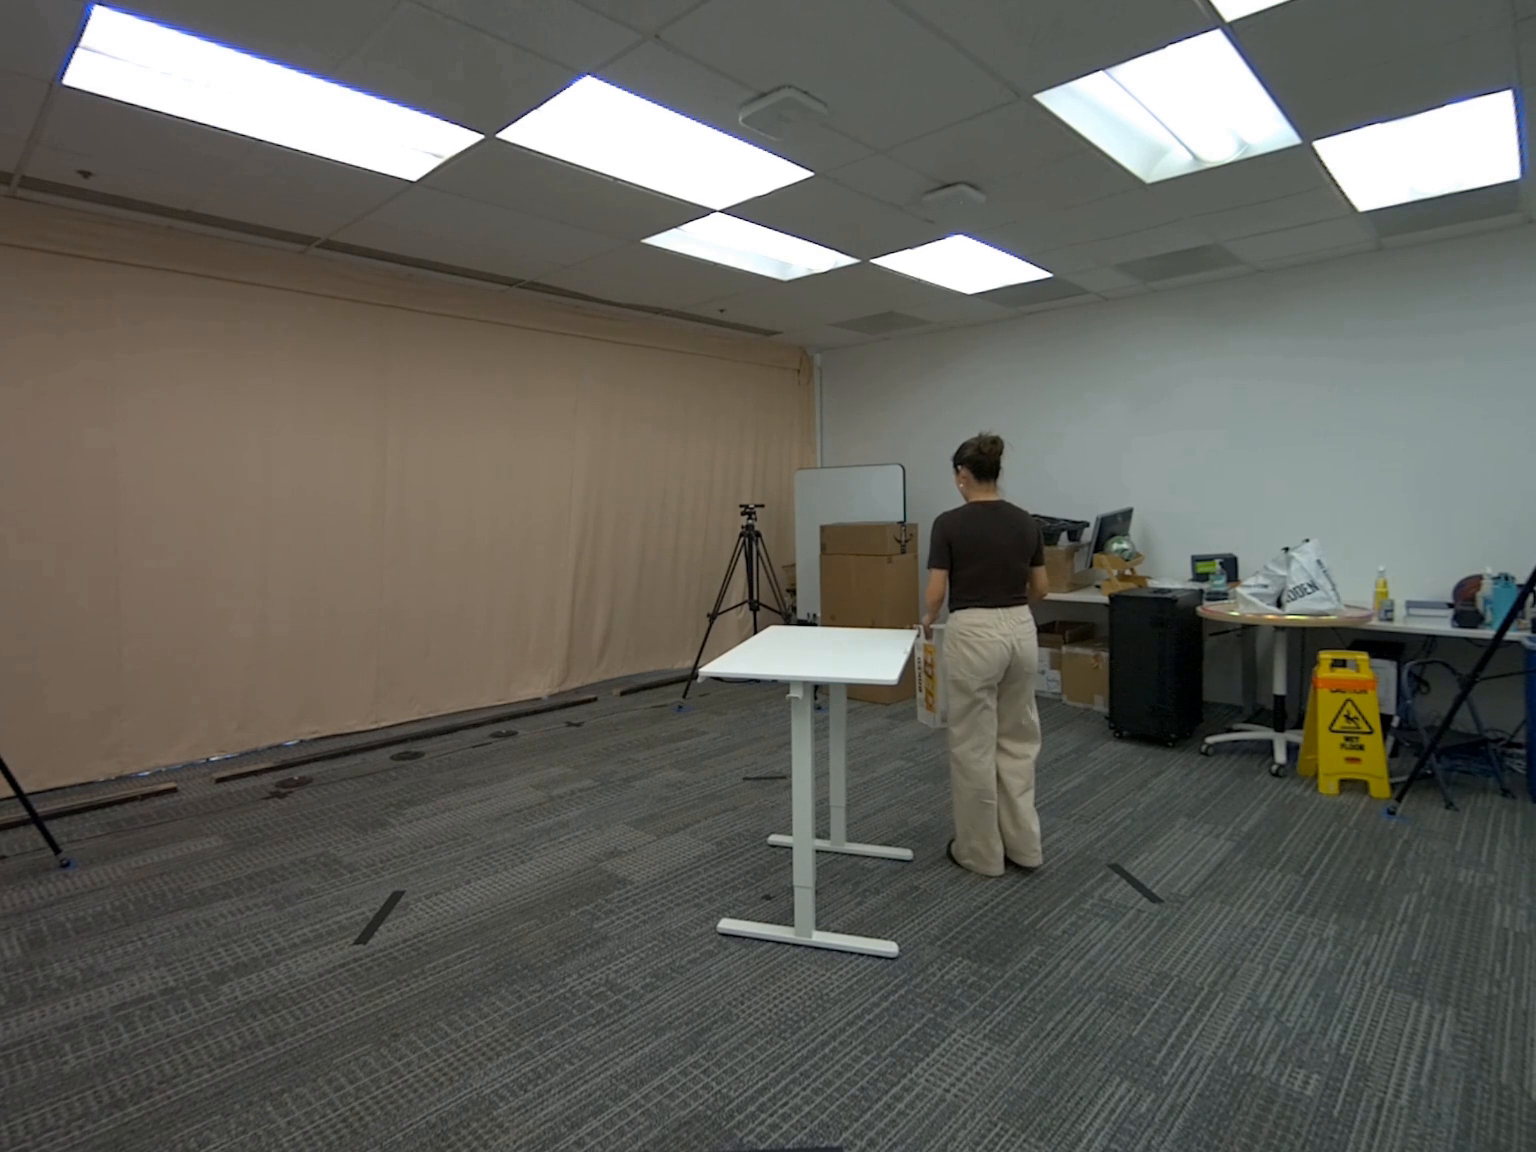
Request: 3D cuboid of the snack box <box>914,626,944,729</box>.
[{"bbox_3d":[0.822,0.410,3.504,0.337,0.405,0.208,-2,-1,-10],"label":"snack box"}]
